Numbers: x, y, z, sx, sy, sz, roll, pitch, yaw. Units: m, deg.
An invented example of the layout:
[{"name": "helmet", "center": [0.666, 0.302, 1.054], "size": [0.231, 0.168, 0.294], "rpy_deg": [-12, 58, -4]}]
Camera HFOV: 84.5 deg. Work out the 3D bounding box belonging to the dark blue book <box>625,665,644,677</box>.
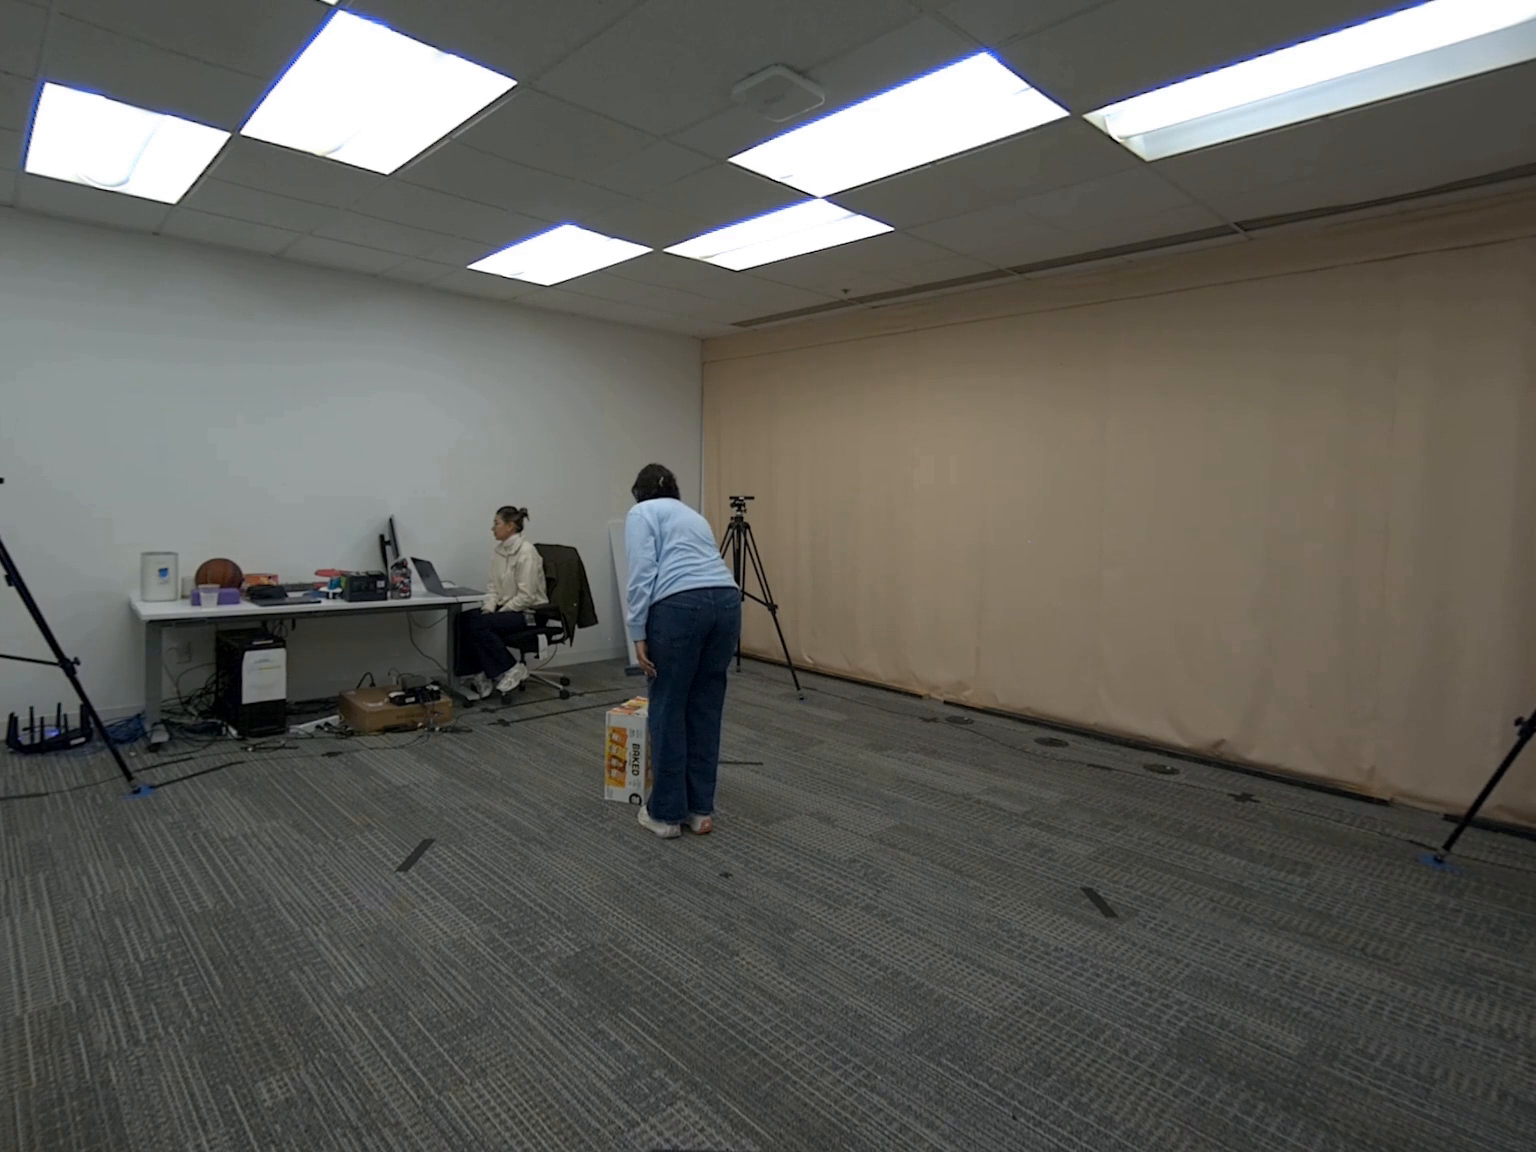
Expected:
[{"name": "dark blue book", "center": [-0.541, 0.410, 3.871], "size": [0.161, 0.045, 0.249], "rpy_deg": [-17, 2, -31]}]
